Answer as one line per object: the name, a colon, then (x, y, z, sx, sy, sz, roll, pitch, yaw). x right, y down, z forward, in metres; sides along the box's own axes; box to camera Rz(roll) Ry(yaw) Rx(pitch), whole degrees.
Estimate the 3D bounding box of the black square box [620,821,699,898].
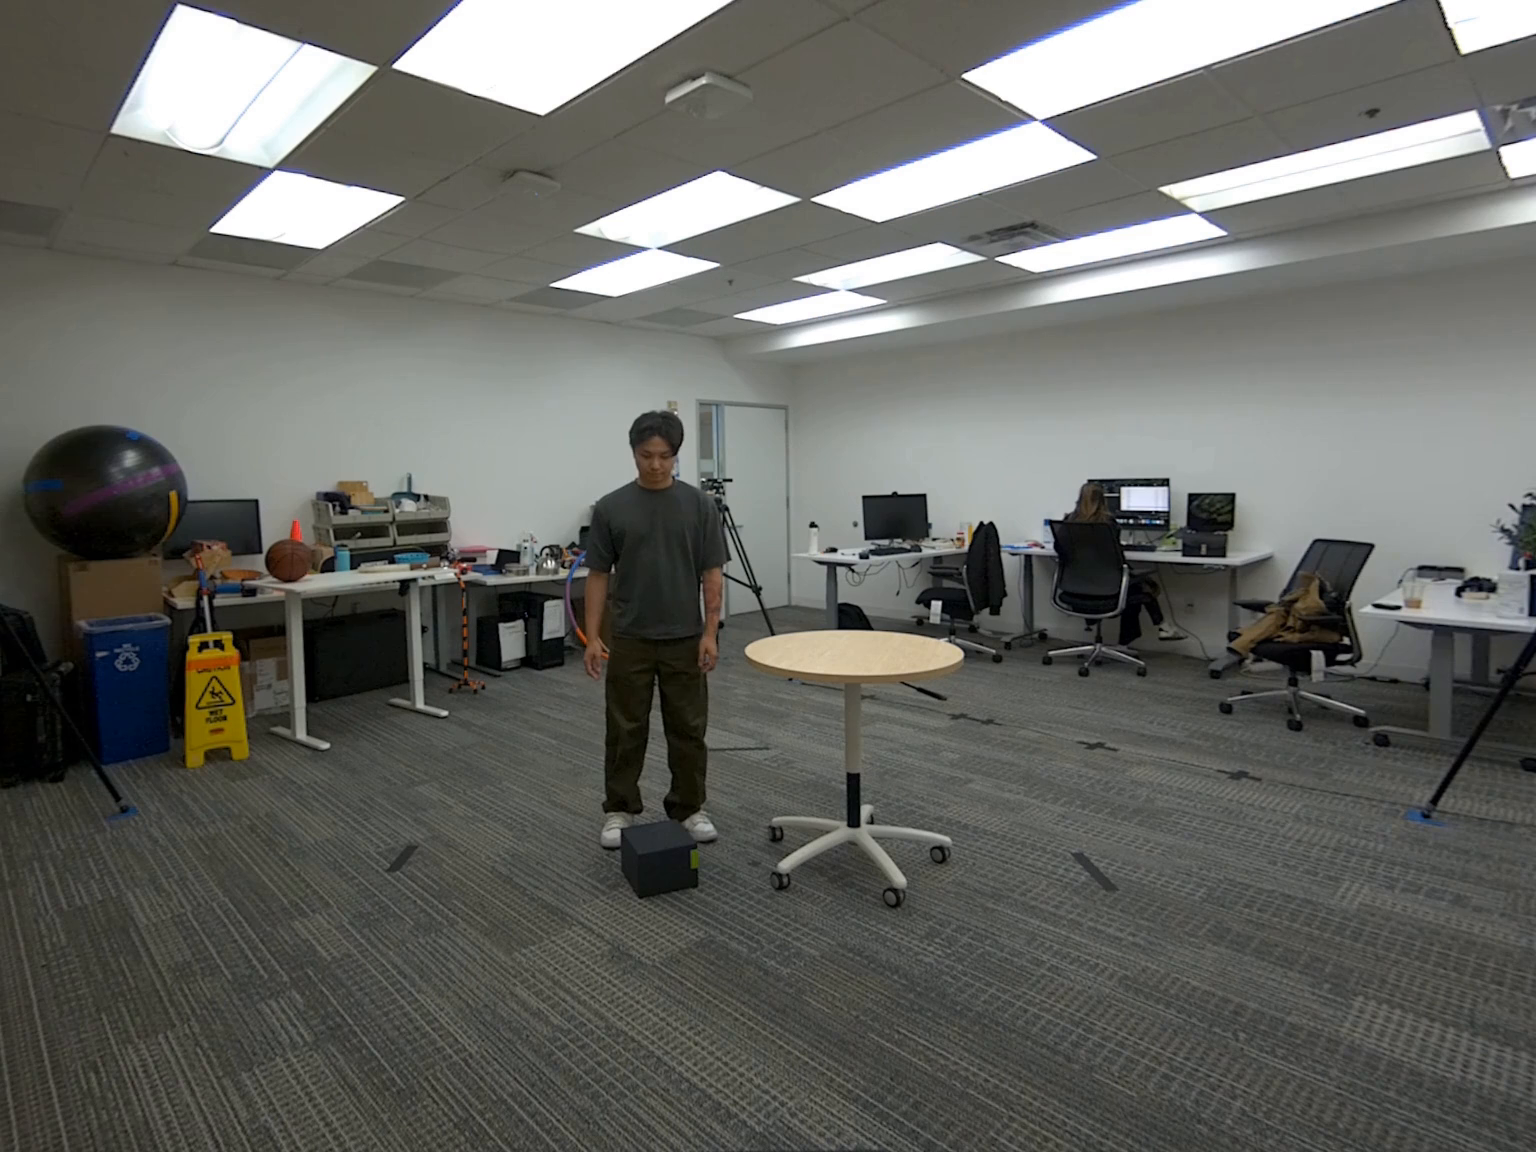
black square box: (-0.384, 0.982, 2.989, 0.212, 0.155, 0.234, -3, 6, -24)
